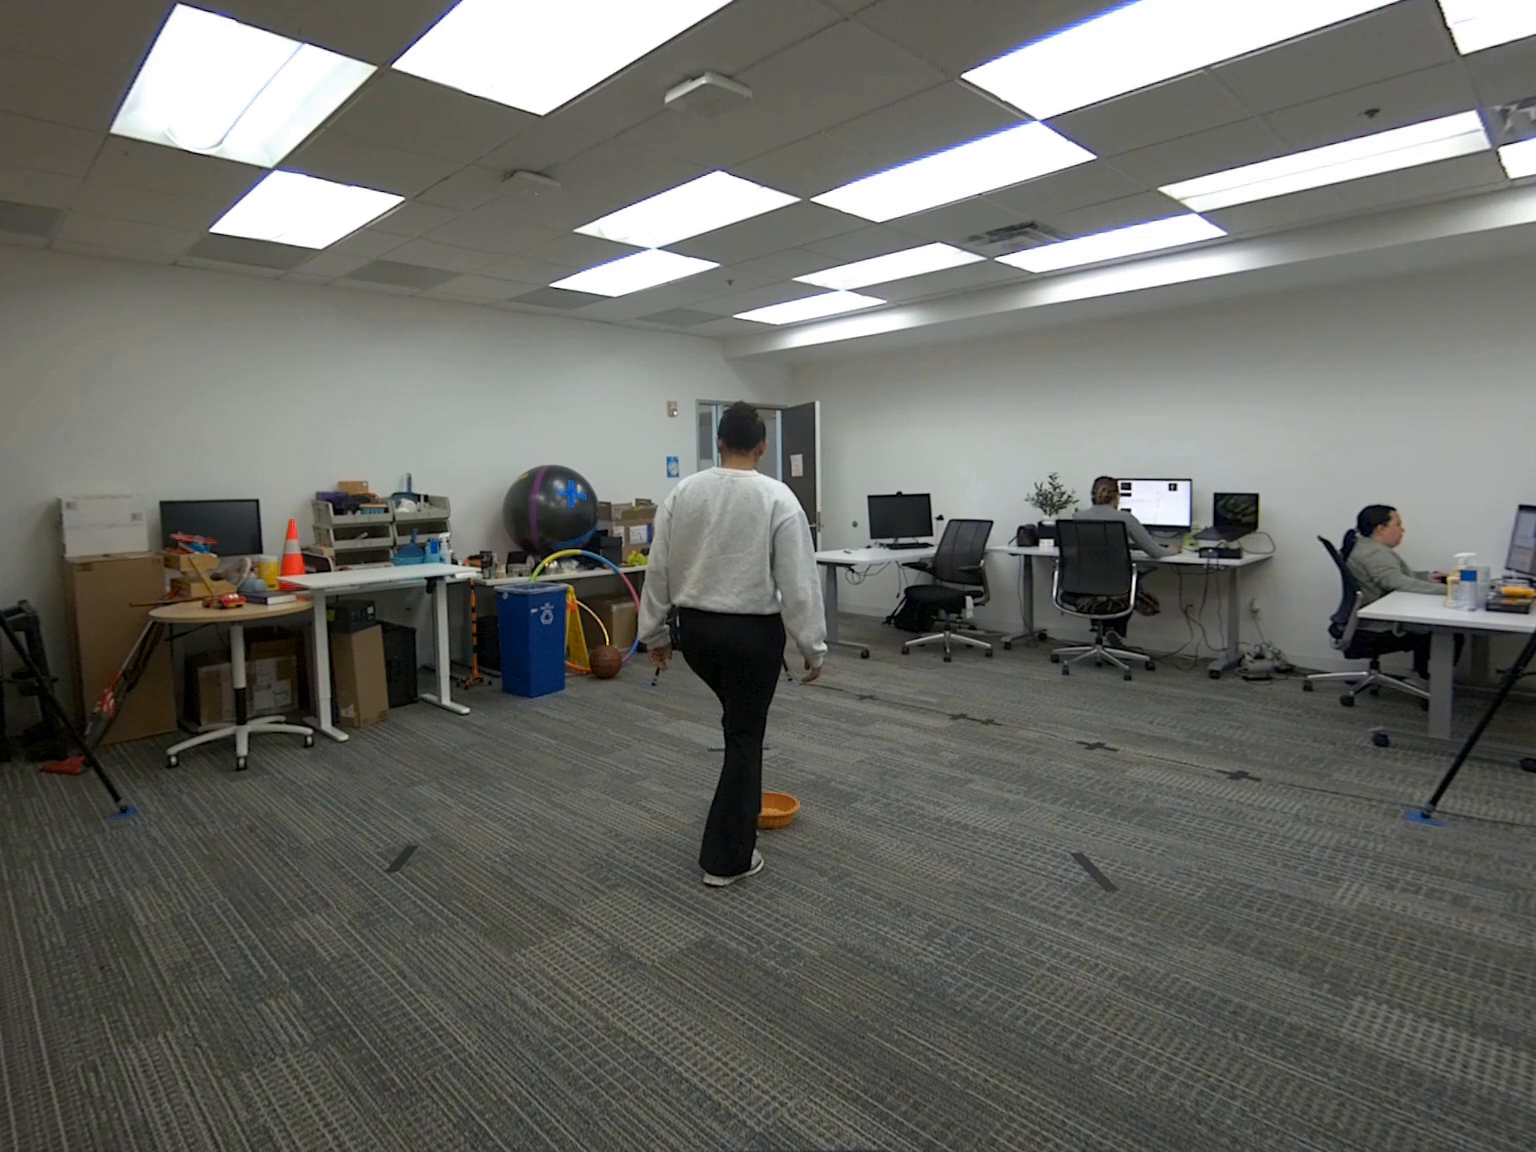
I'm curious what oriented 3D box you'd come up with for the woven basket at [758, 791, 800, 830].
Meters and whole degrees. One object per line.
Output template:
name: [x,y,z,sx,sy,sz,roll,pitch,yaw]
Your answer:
woven basket: [-0.038,0.959,3.519,0.355,0.073,0.250,1,7,13]
